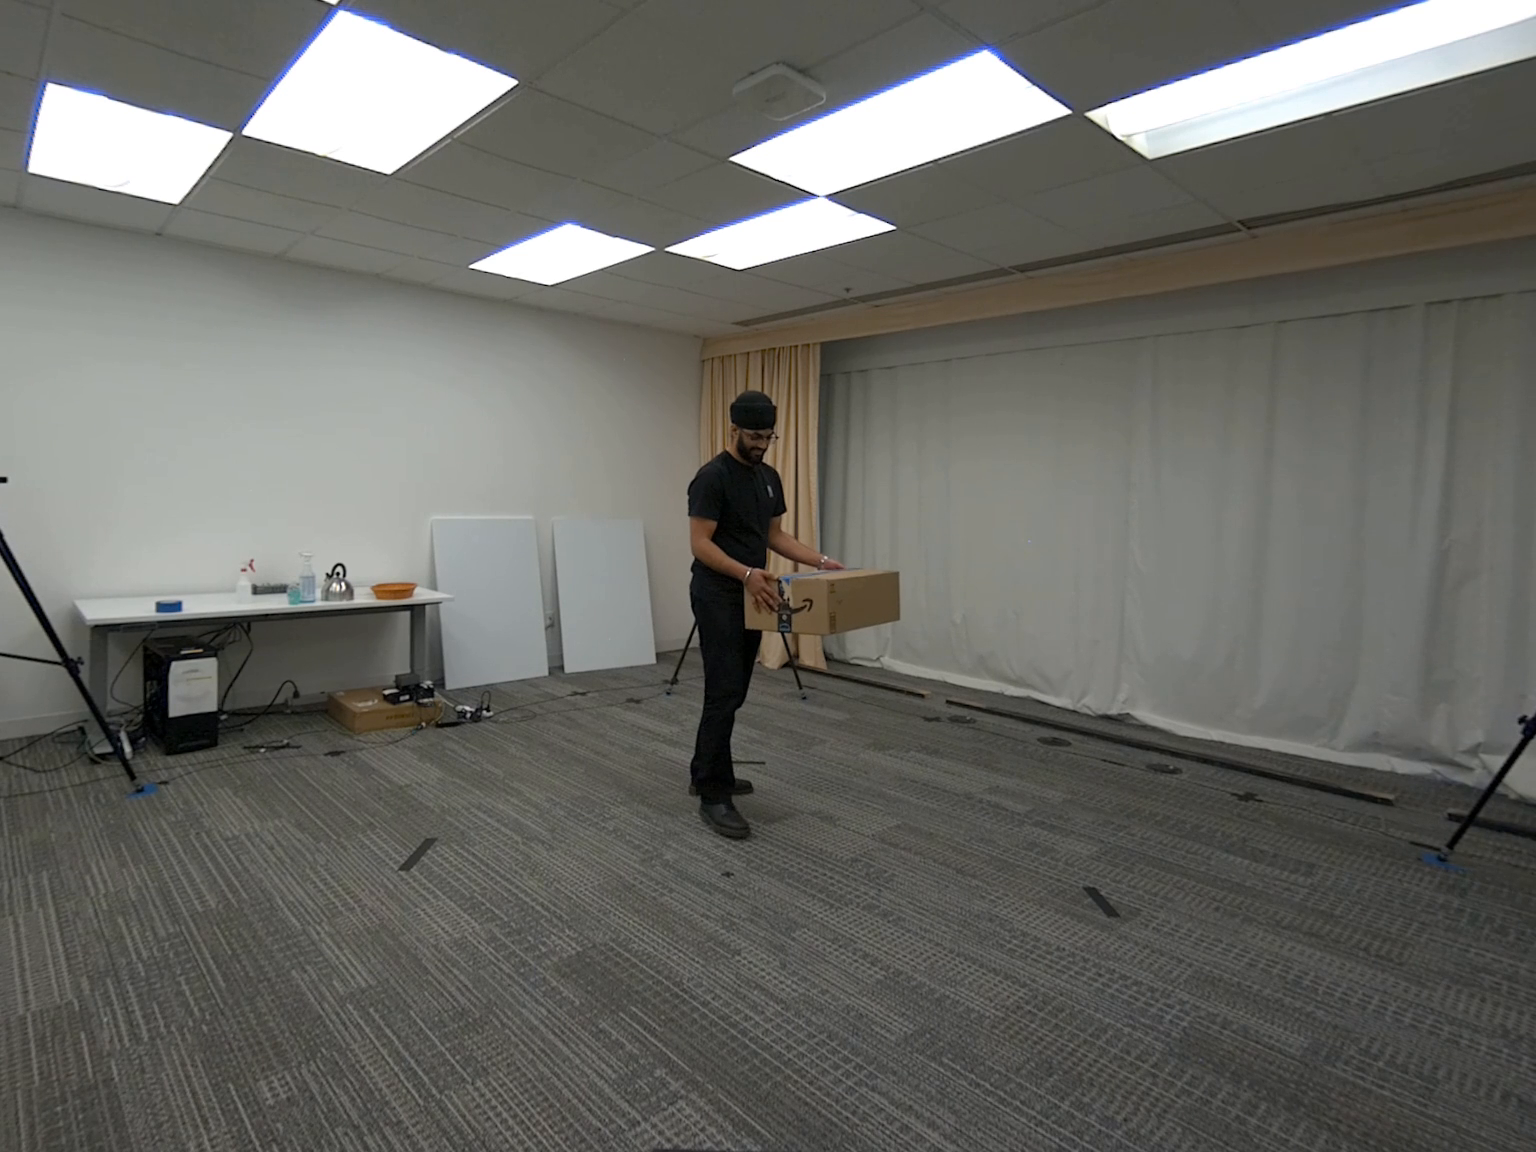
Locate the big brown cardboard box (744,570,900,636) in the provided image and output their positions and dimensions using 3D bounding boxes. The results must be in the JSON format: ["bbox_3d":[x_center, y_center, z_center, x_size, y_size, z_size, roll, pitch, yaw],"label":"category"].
[{"bbox_3d":[0.228,0.092,3.544,0.427,0.233,0.576,0,4,38],"label":"big brown cardboard box"}]
